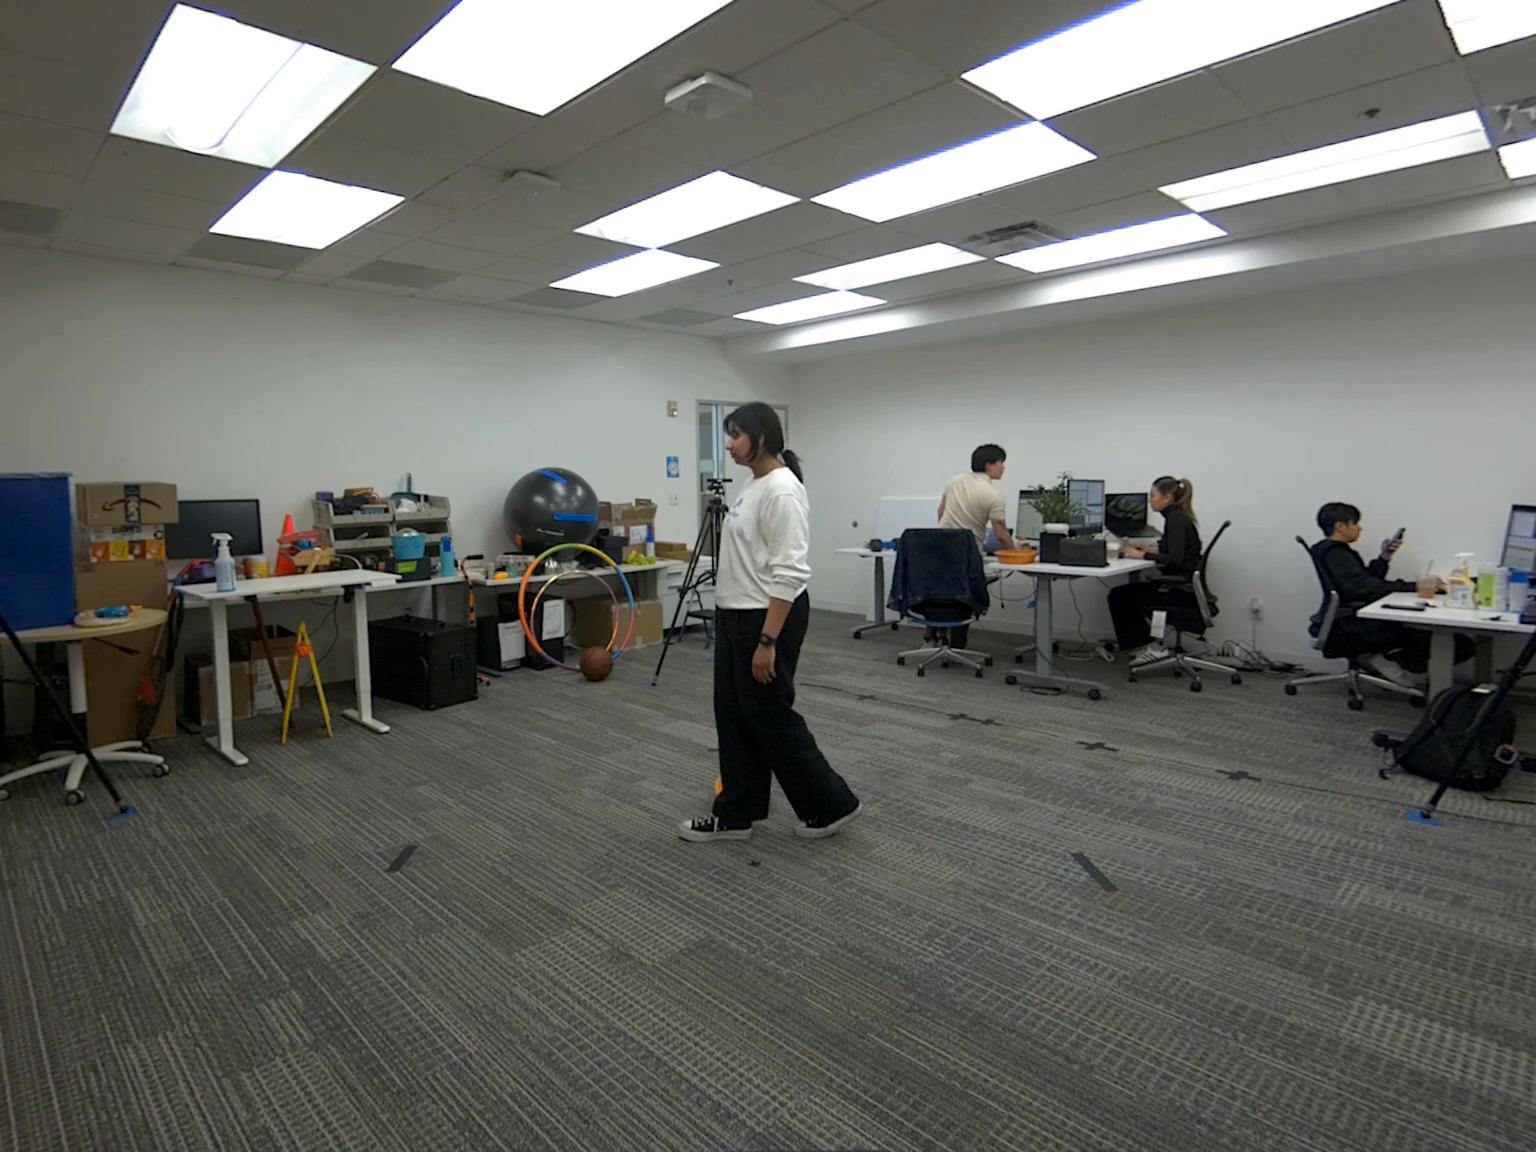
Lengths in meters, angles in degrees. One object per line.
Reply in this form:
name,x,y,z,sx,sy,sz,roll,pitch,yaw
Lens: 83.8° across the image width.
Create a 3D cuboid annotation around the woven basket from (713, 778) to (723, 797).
woven basket,-0.101,0.940,3.715,0.253,0.073,0.351,-2,7,2
